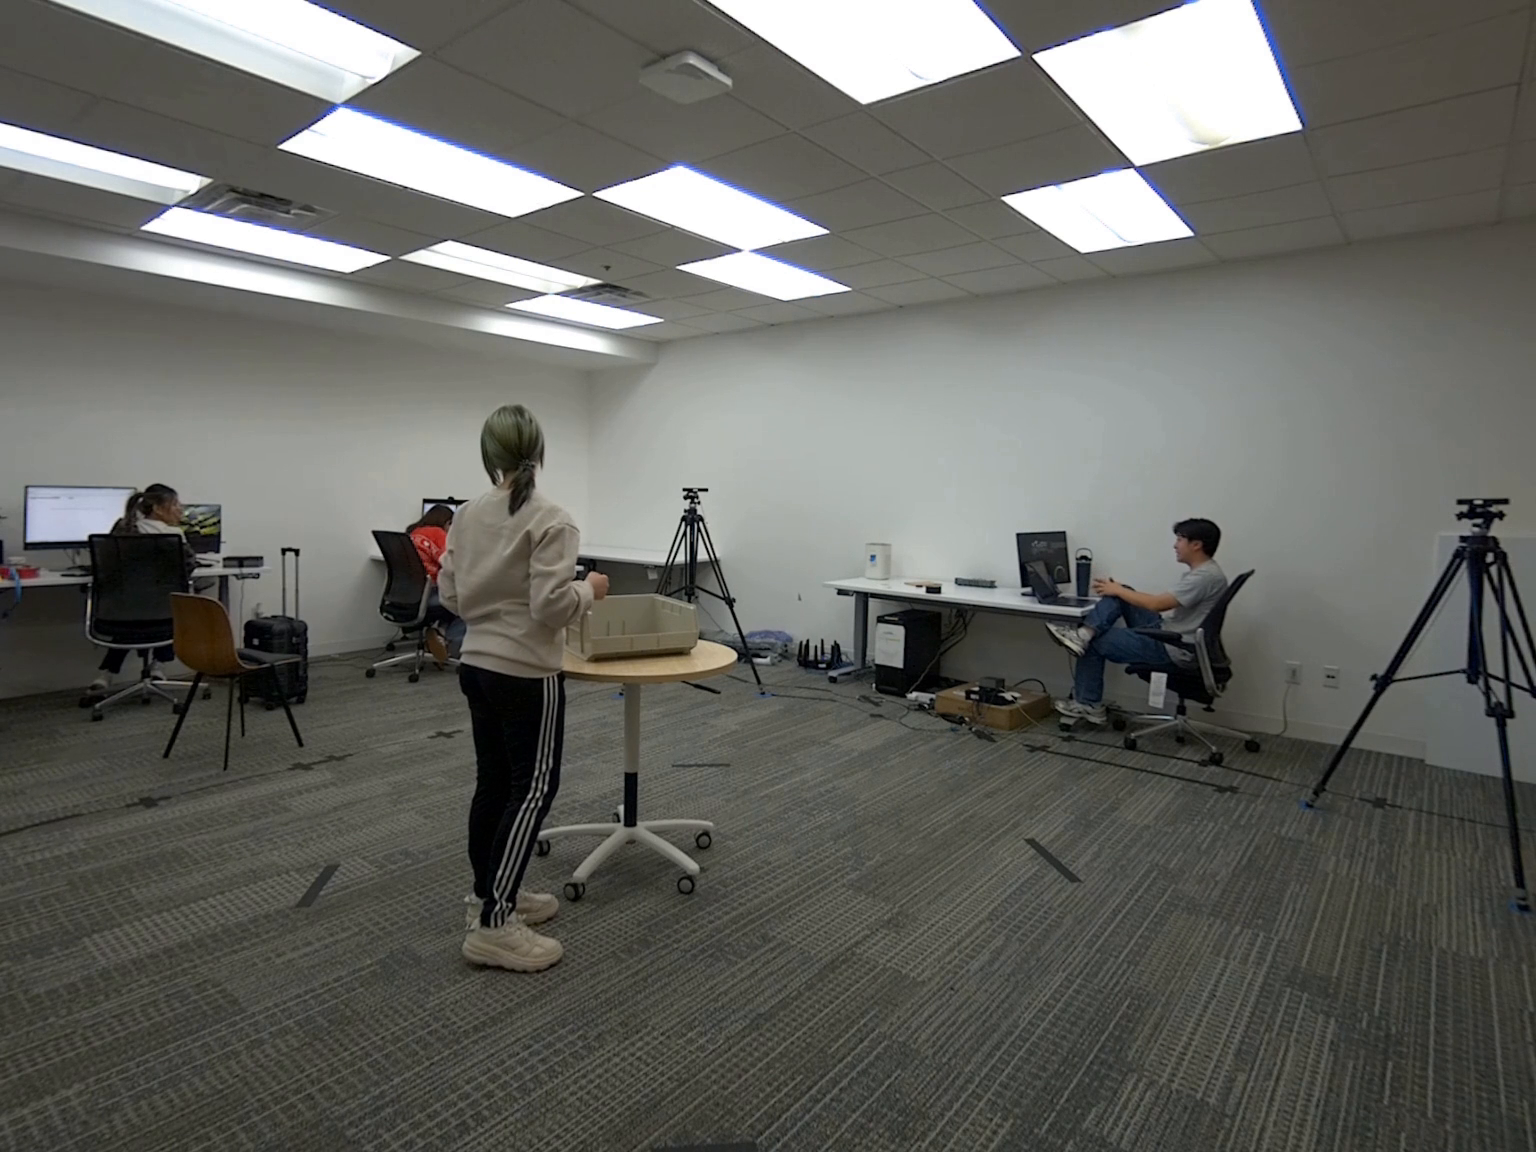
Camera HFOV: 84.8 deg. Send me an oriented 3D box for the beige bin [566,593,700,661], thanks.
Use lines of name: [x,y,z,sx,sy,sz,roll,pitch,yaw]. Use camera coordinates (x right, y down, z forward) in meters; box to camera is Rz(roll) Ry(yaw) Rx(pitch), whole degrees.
beige bin: [-0.535,0.187,3.153,0.411,0.188,0.388,-3,5,-29]
